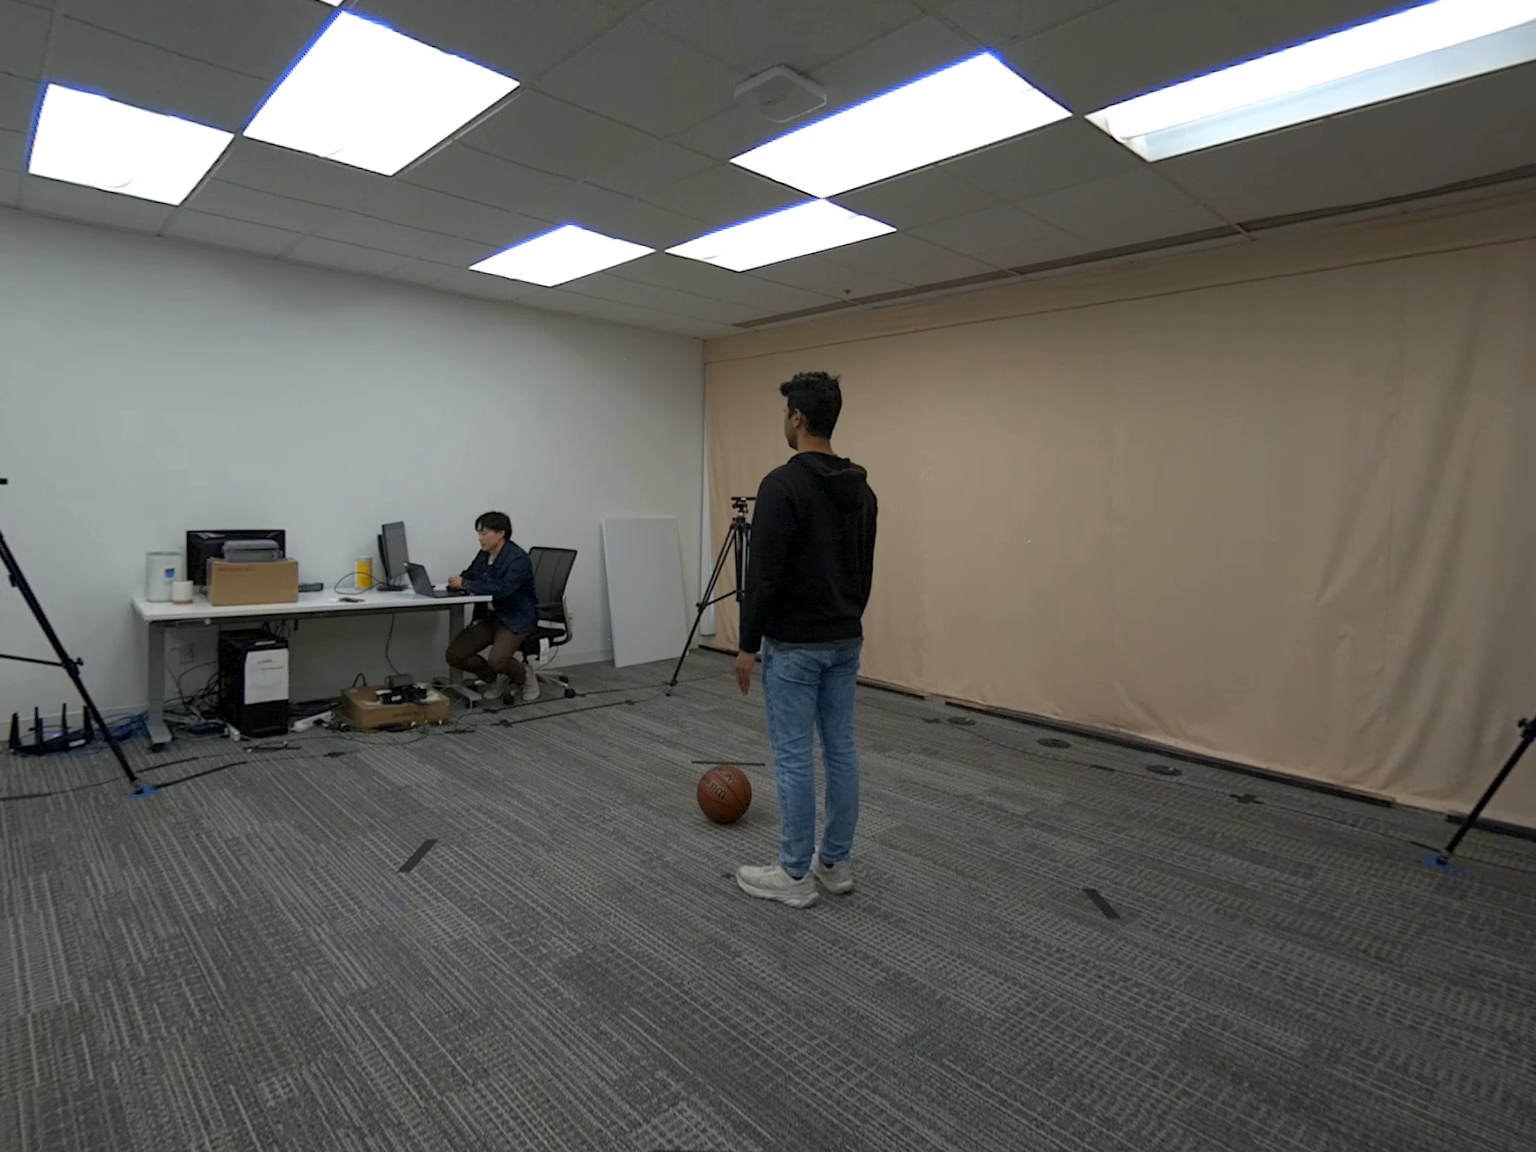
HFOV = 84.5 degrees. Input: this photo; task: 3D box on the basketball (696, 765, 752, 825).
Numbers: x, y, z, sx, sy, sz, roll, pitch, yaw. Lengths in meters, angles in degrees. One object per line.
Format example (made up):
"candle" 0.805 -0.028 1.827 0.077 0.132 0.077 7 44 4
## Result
"basketball" -0.197 0.937 3.634 0.236 0.235 0.237 1 4 -1
